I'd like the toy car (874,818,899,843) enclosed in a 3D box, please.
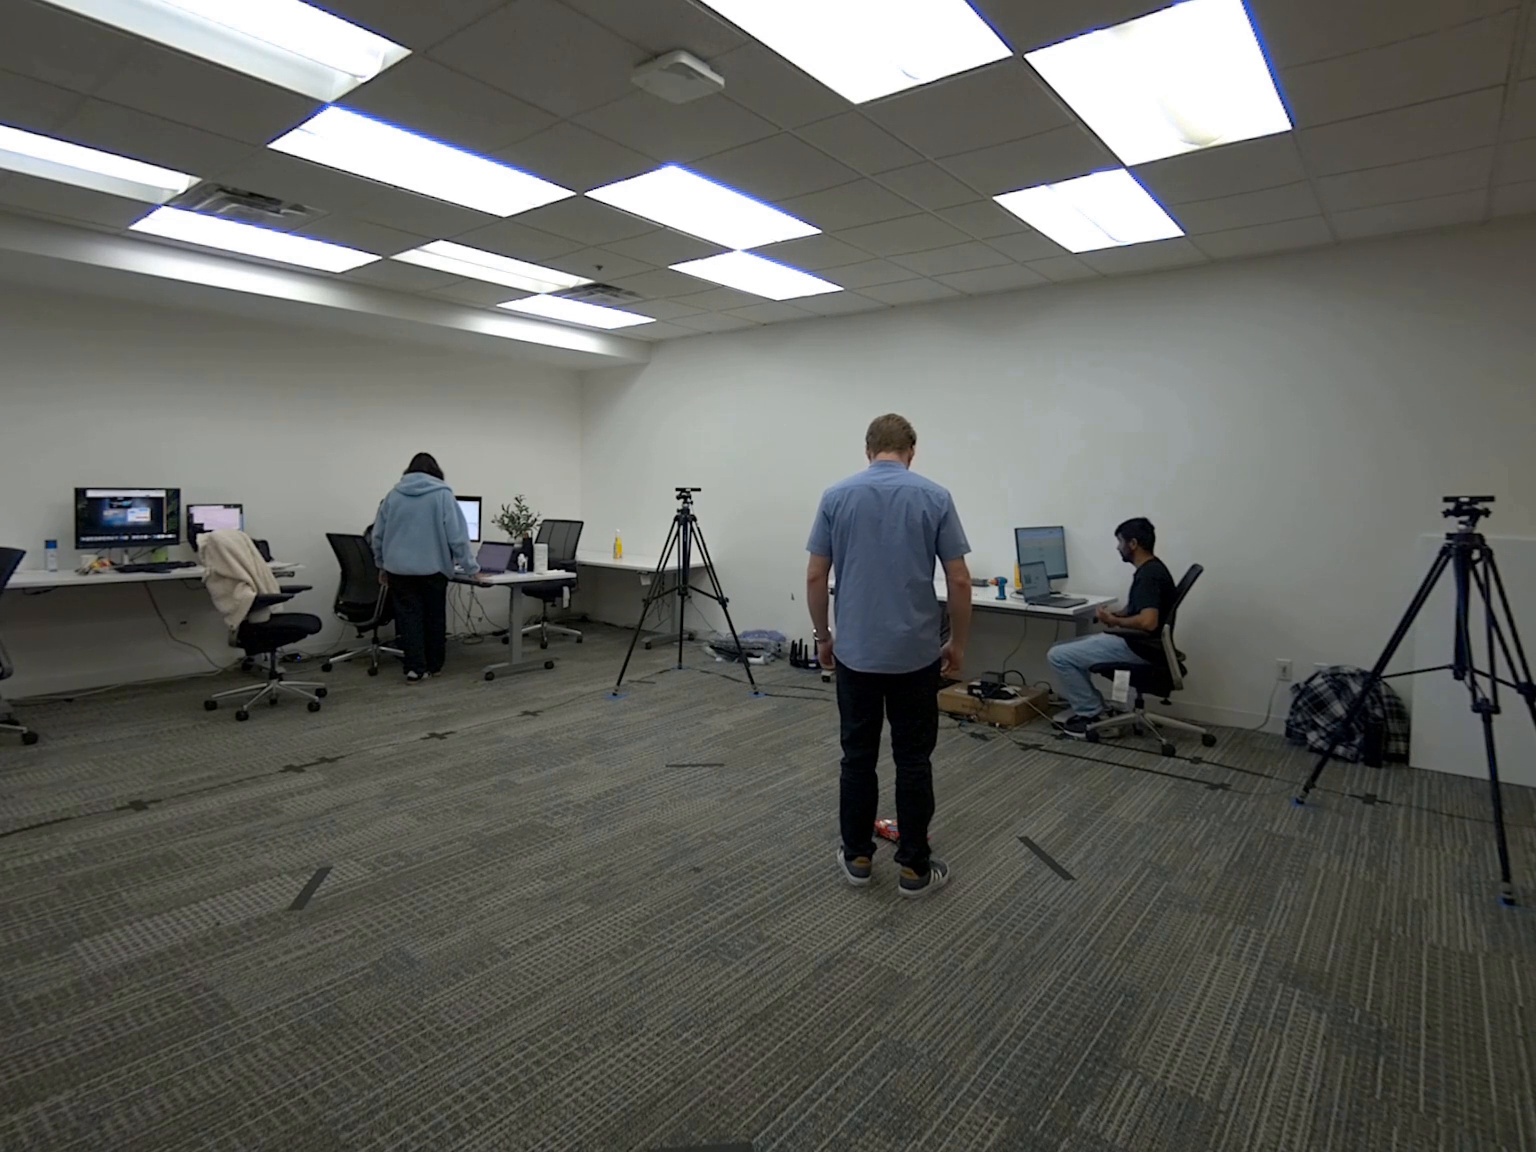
[{"bbox_3d":[0.528,1.024,3.389,0.126,0.084,0.260,-1,-5,-35],"label":"toy car"}]
